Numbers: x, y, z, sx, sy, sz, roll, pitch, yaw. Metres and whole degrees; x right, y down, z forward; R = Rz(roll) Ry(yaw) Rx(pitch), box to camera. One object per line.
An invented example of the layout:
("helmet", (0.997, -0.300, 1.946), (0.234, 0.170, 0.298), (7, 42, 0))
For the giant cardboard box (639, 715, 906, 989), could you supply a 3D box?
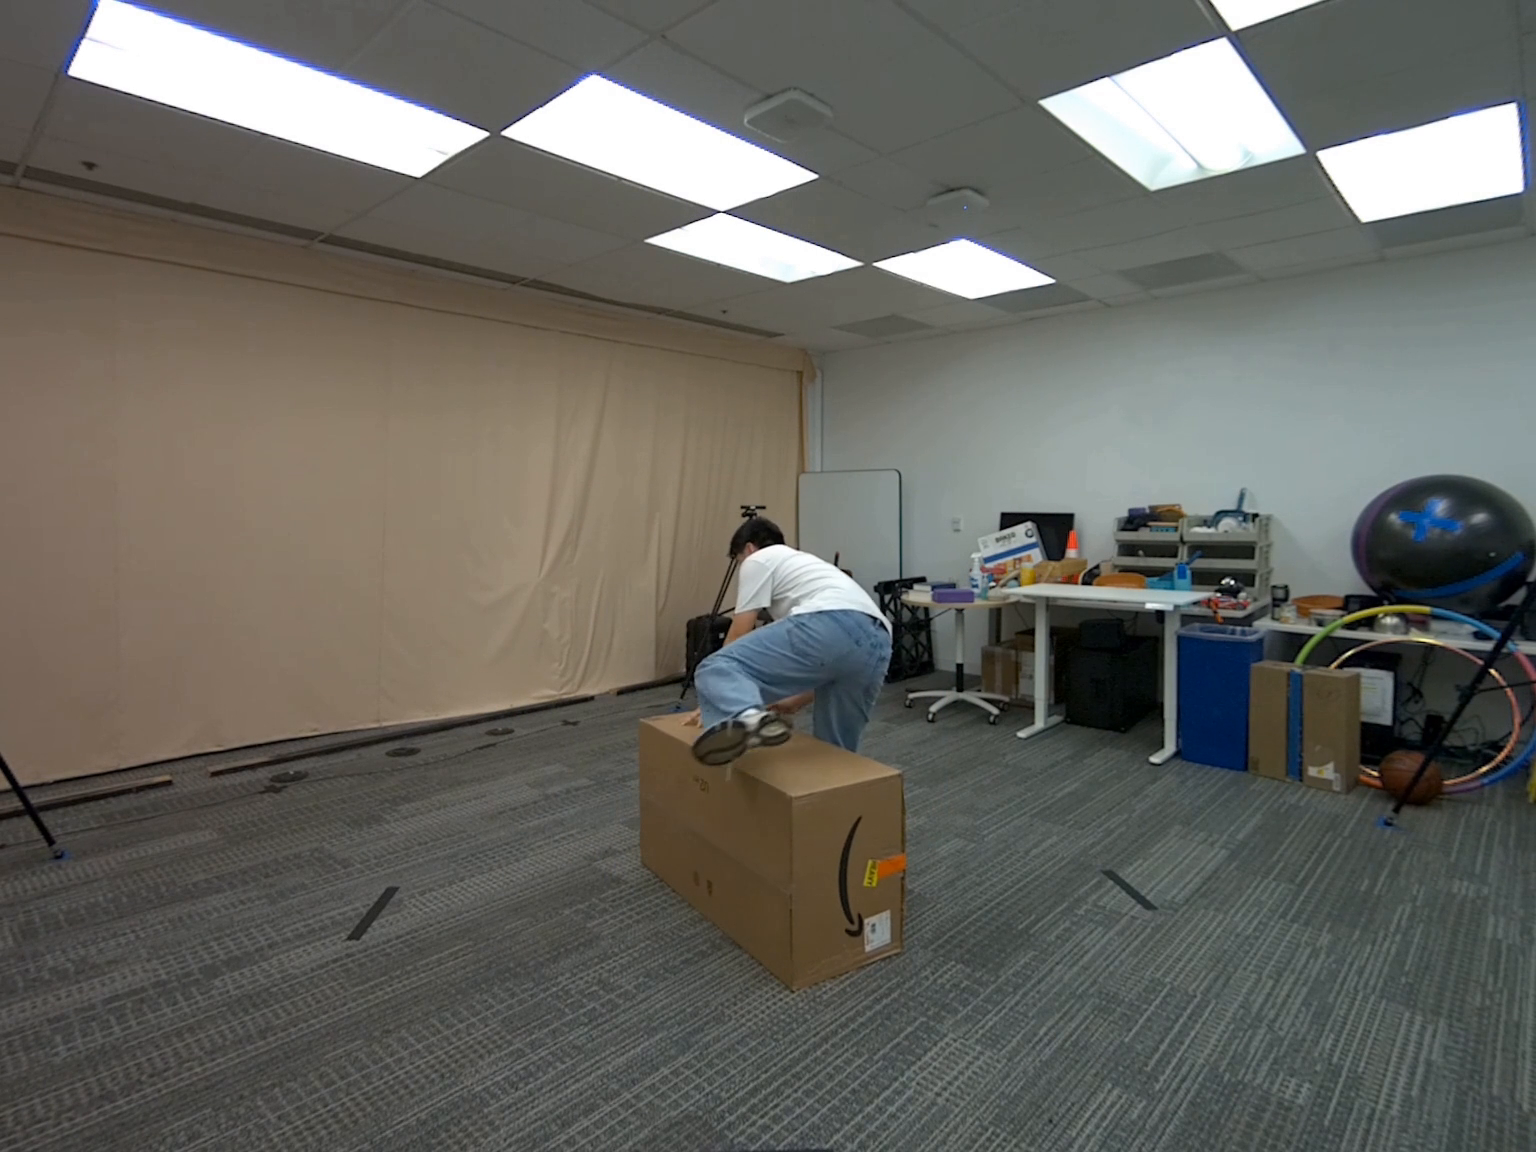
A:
("giant cardboard box", (-0.040, 0.860, 2.938), (0.414, 0.576, 1.057), (-3, 5, -32))
